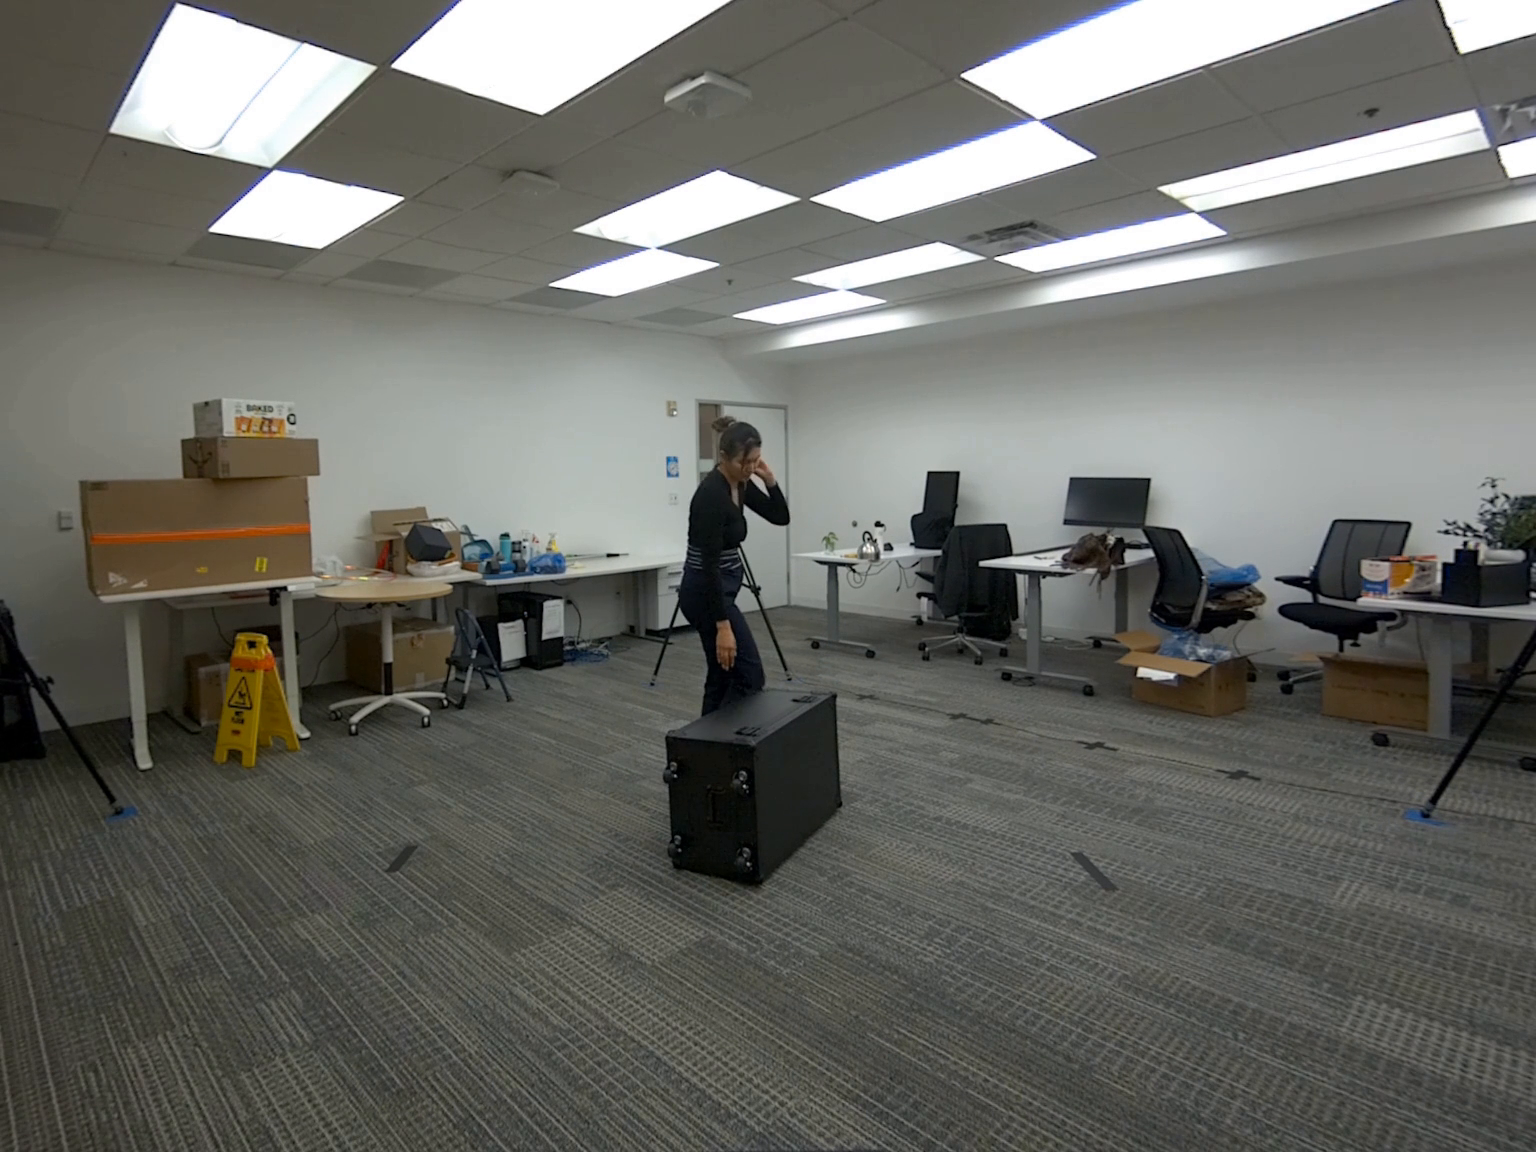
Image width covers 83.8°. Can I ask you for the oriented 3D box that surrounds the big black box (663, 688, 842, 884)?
[{"bbox_3d":[-0.055,0.766,3.297,0.405,0.520,0.844,-1,5,26],"label":"big black box"}]
